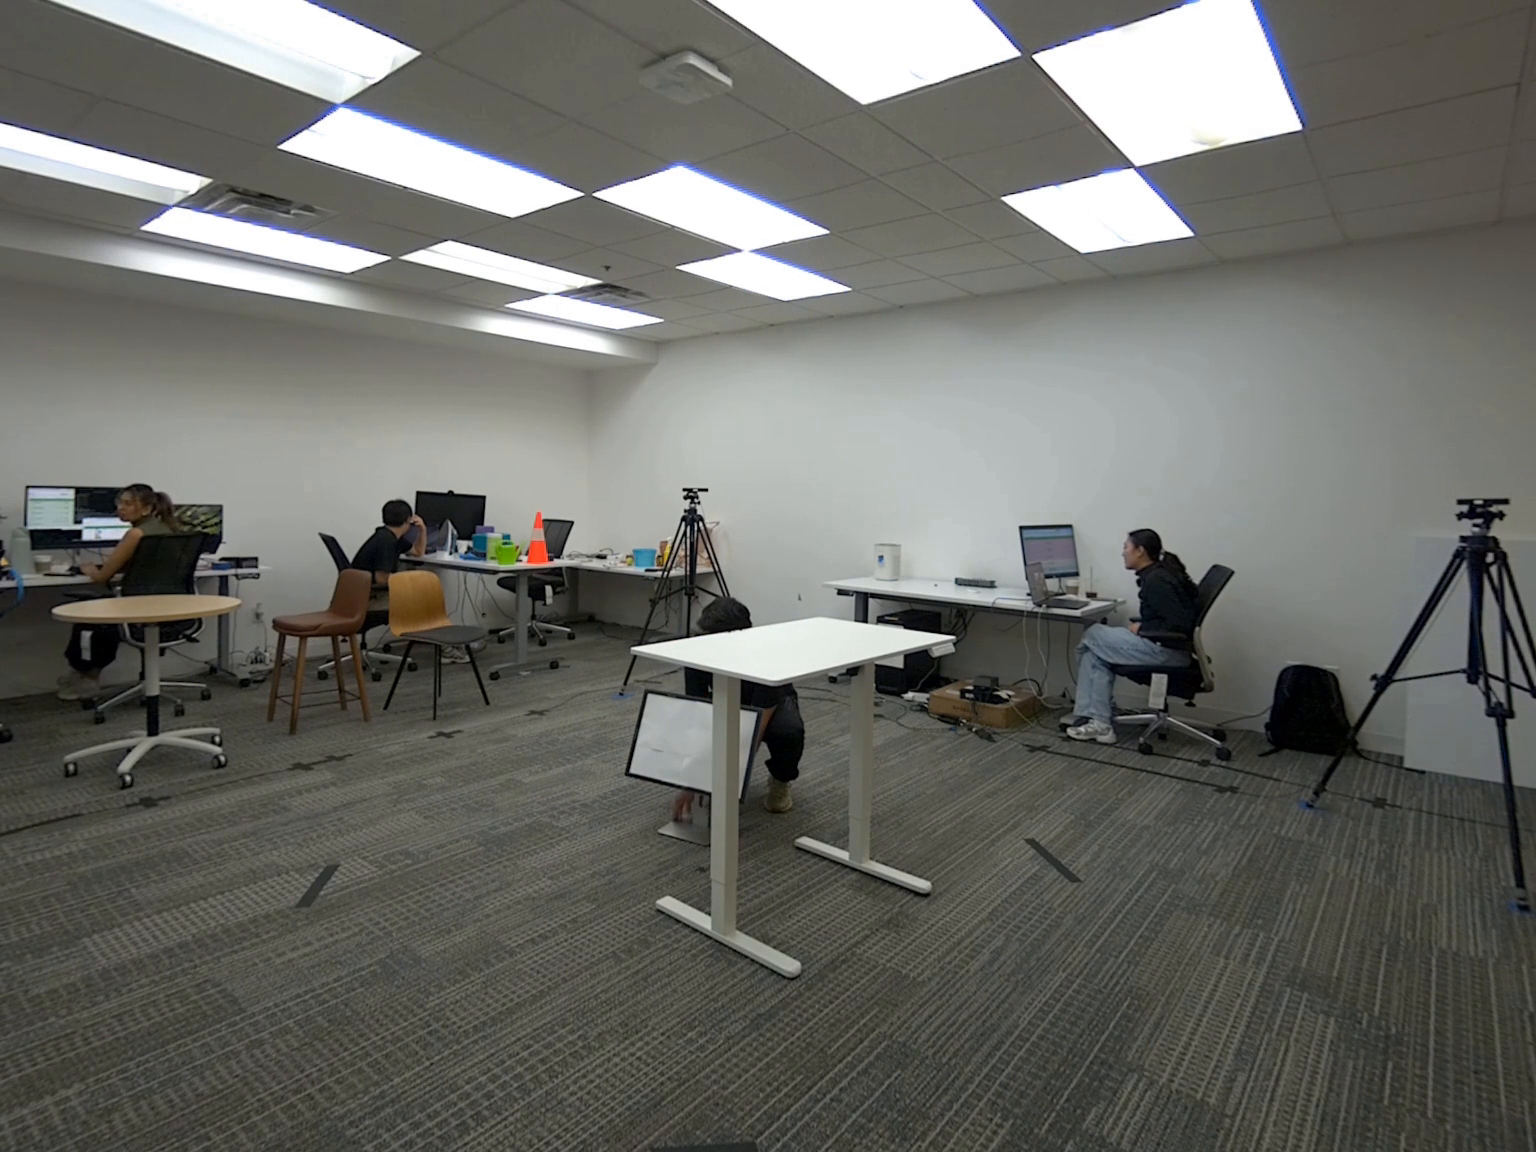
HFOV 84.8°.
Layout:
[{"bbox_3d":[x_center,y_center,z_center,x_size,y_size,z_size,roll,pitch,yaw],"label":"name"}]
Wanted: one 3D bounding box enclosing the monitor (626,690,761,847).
[{"bbox_3d":[-0.287,0.765,3.464,0.582,0.557,0.203,3,-6,30],"label":"monitor"}]
